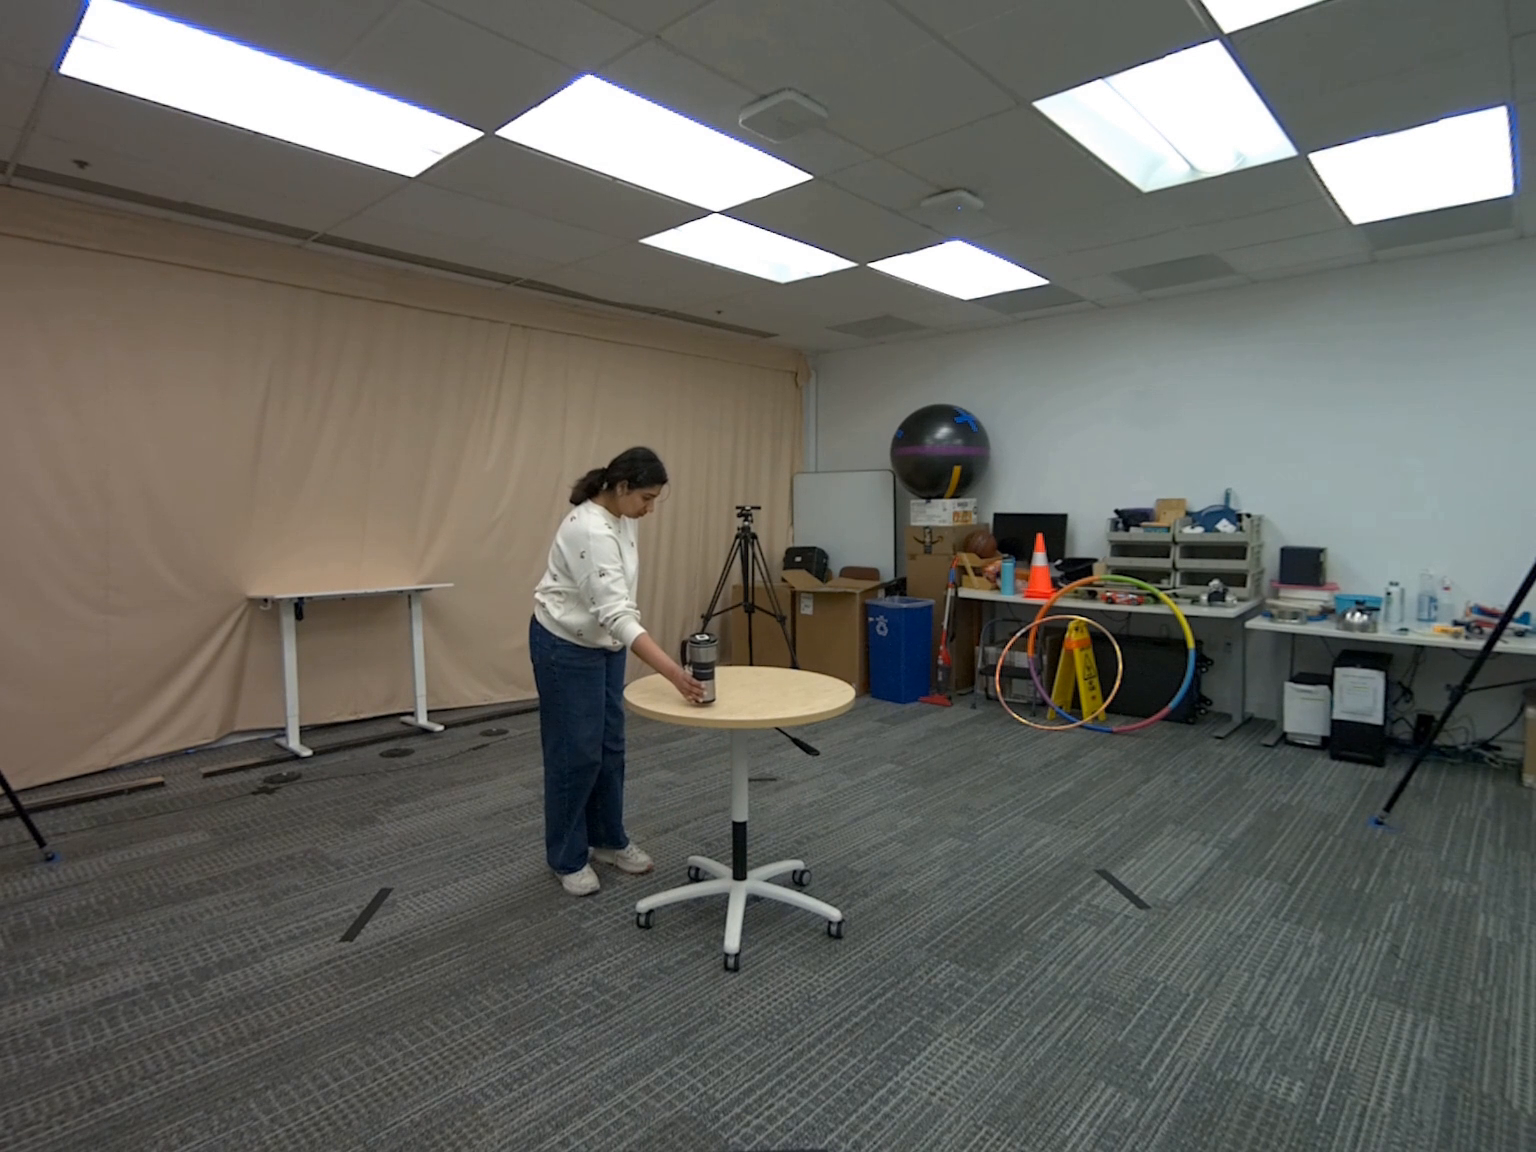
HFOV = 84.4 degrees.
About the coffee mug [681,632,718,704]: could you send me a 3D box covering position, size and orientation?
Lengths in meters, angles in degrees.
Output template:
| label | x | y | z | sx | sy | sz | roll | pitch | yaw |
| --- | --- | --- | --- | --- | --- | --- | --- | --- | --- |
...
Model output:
| label | x | y | z | sx | sy | sz | roll | pitch | yaw |
| --- | --- | --- | --- | --- | --- | --- | --- | --- | --- |
| coffee mug | -0.187 | 0.287 | 2.548 | 0.085 | 0.203 | 0.125 | -4 | 2 | -33 |
